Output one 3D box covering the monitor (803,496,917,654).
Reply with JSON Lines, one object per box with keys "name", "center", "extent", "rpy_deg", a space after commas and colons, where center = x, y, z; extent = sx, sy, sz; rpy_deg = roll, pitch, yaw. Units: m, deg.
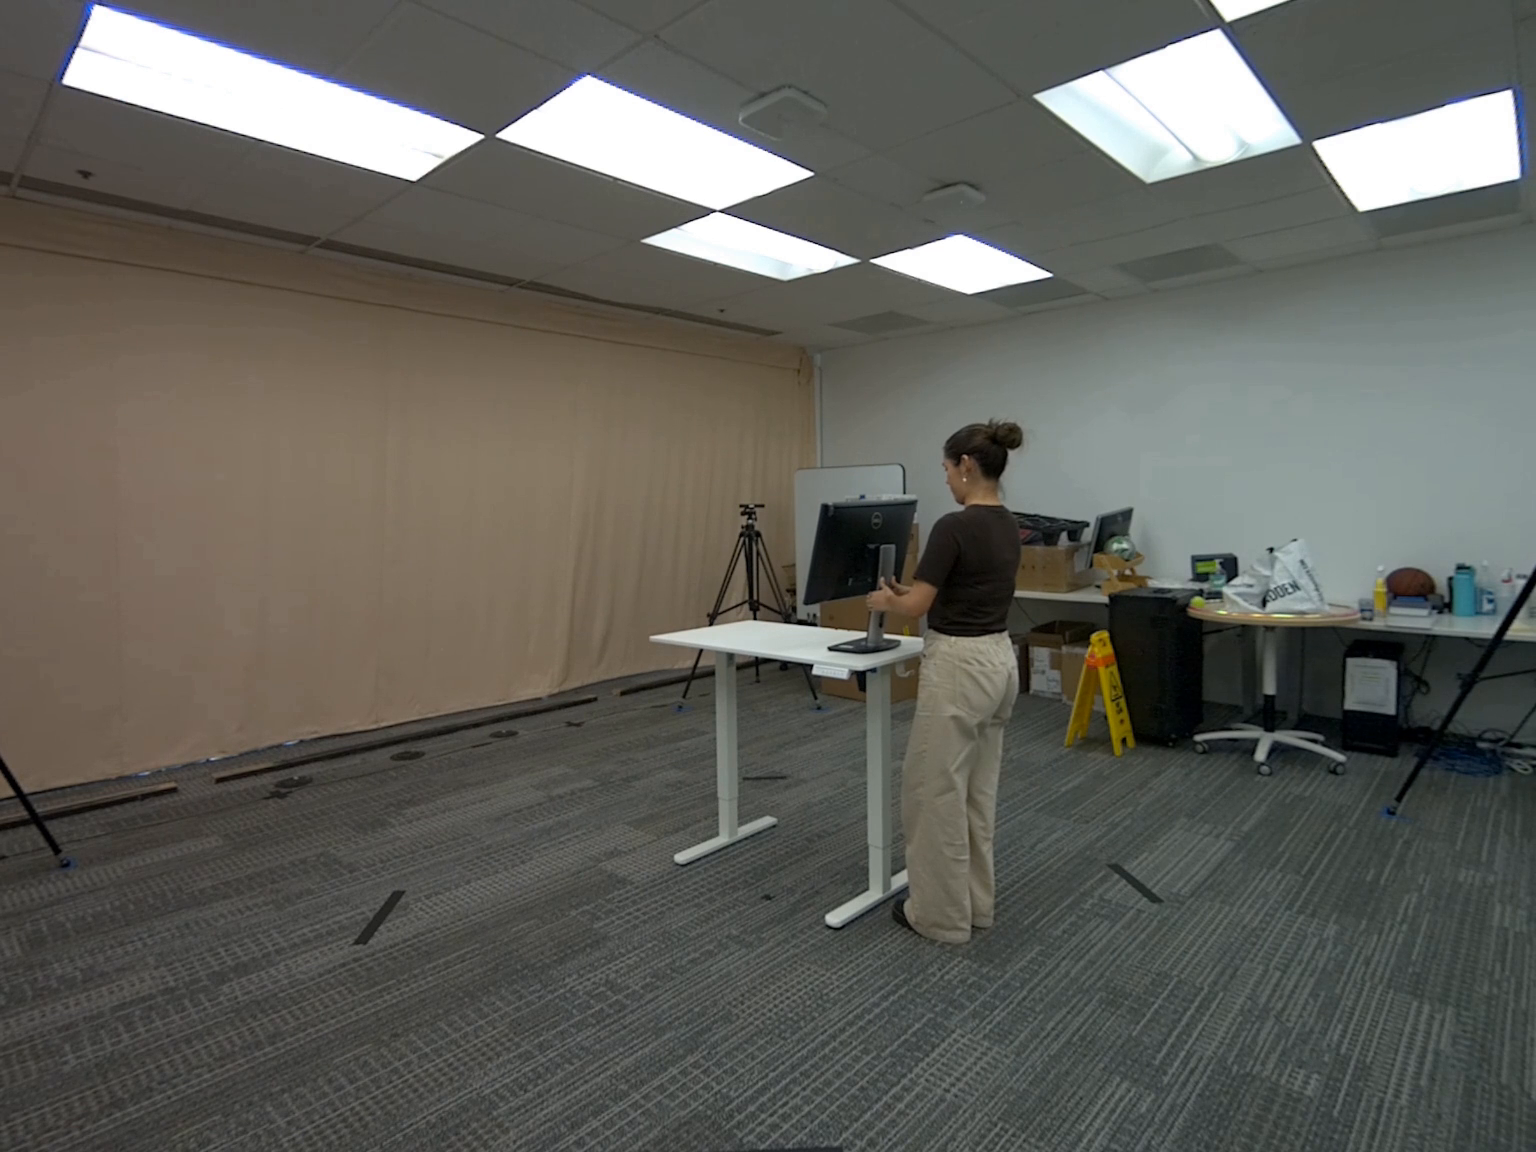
{"name": "monitor", "center": [0.357, 0.000, 2.940], "extent": [0.193, 0.521, 0.523], "rpy_deg": [5, 8, 42]}
